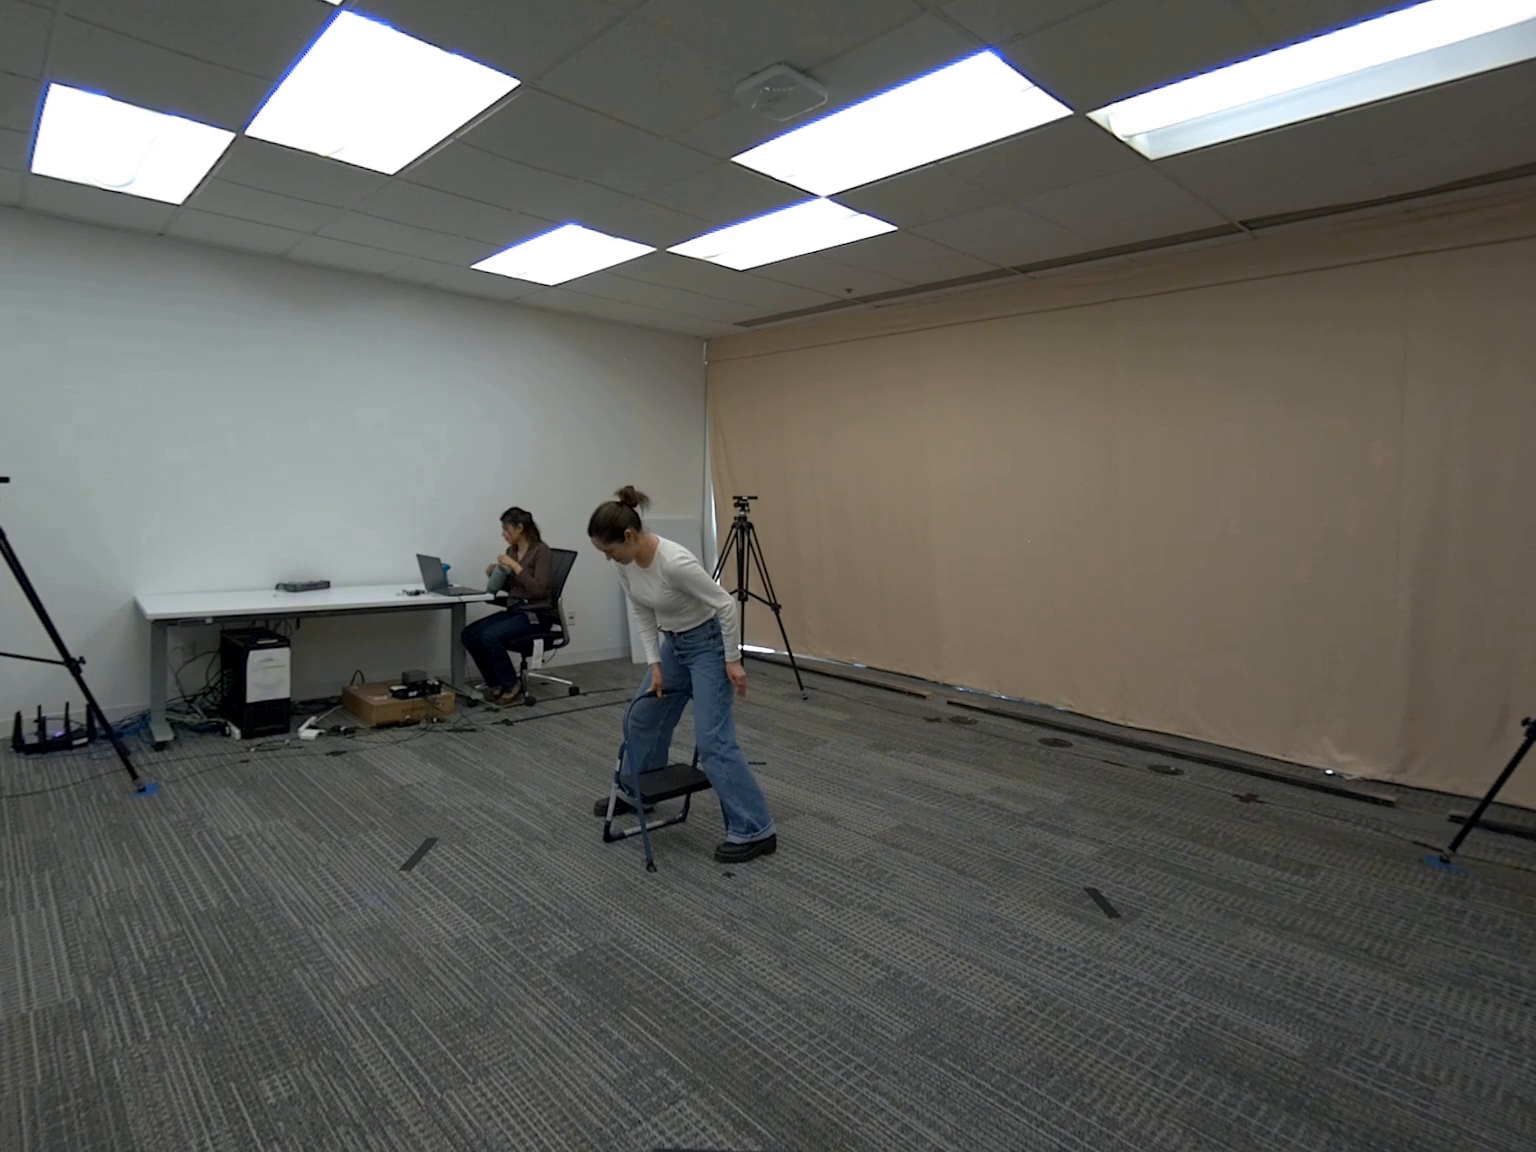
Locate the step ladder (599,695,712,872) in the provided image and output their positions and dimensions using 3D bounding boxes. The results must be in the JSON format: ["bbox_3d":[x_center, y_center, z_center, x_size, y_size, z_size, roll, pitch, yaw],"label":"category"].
[{"bbox_3d":[-0.400,0.775,3.364,0.421,0.605,0.358,-2,5,-43],"label":"step ladder"}]
